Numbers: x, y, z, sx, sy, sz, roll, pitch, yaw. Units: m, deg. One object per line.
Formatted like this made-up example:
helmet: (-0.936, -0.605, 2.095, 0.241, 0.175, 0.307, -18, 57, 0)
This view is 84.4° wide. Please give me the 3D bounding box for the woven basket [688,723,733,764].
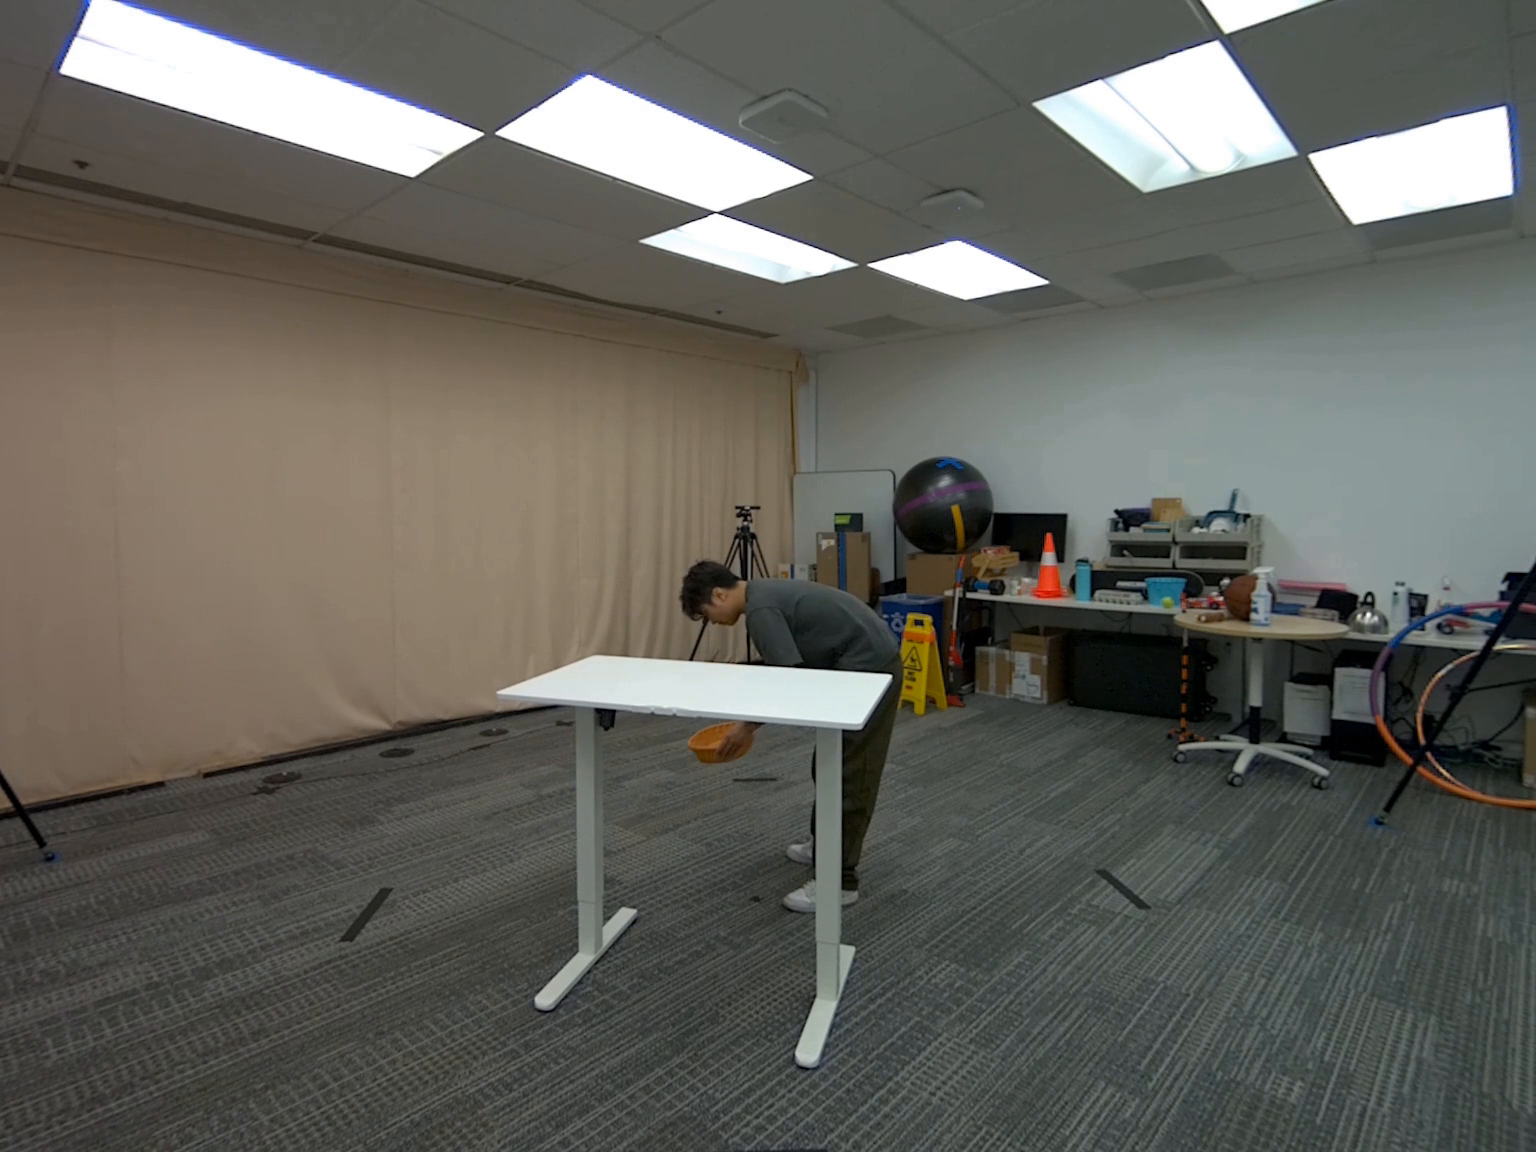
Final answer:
woven basket: (-0.159, 0.638, 3.199, 0.257, 0.073, 0.345, -7, 4, 18)
